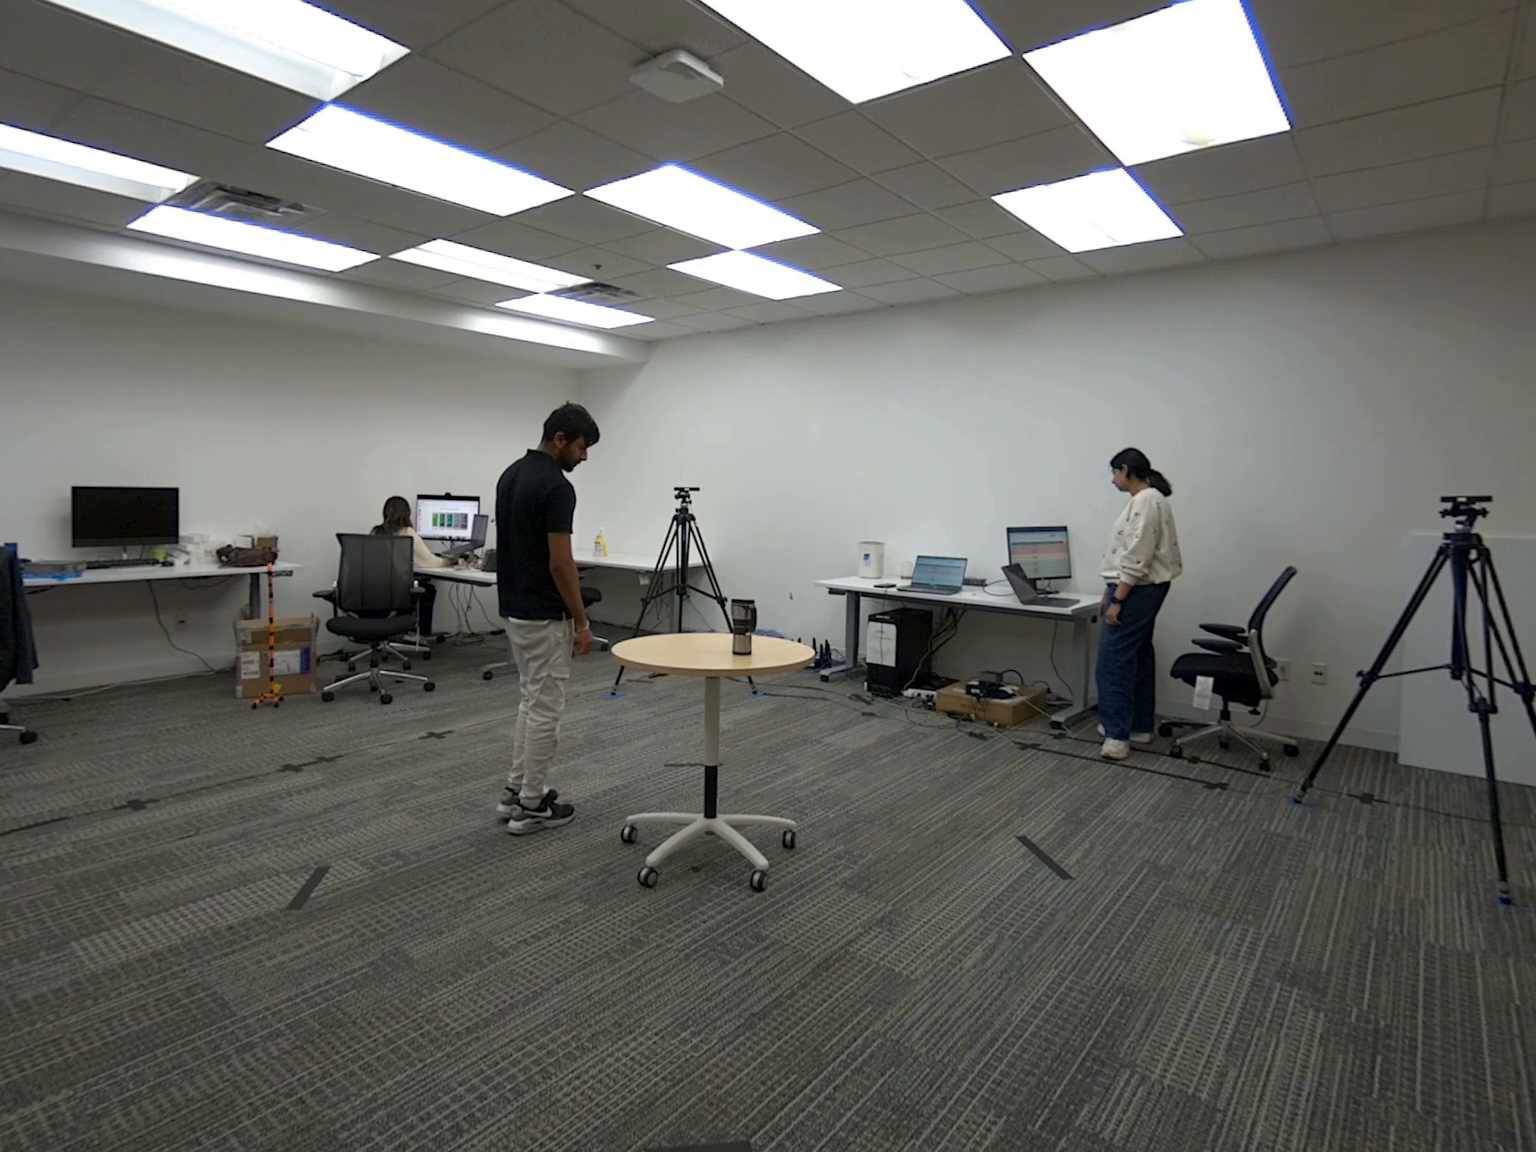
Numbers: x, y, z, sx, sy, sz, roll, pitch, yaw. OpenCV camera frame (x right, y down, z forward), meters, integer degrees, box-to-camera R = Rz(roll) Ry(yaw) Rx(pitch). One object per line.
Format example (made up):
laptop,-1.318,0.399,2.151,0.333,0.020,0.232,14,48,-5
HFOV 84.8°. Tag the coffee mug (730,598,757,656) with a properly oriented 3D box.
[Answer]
coffee mug,-0.109,0.186,3.128,0.085,0.202,0.126,-2,7,-39
